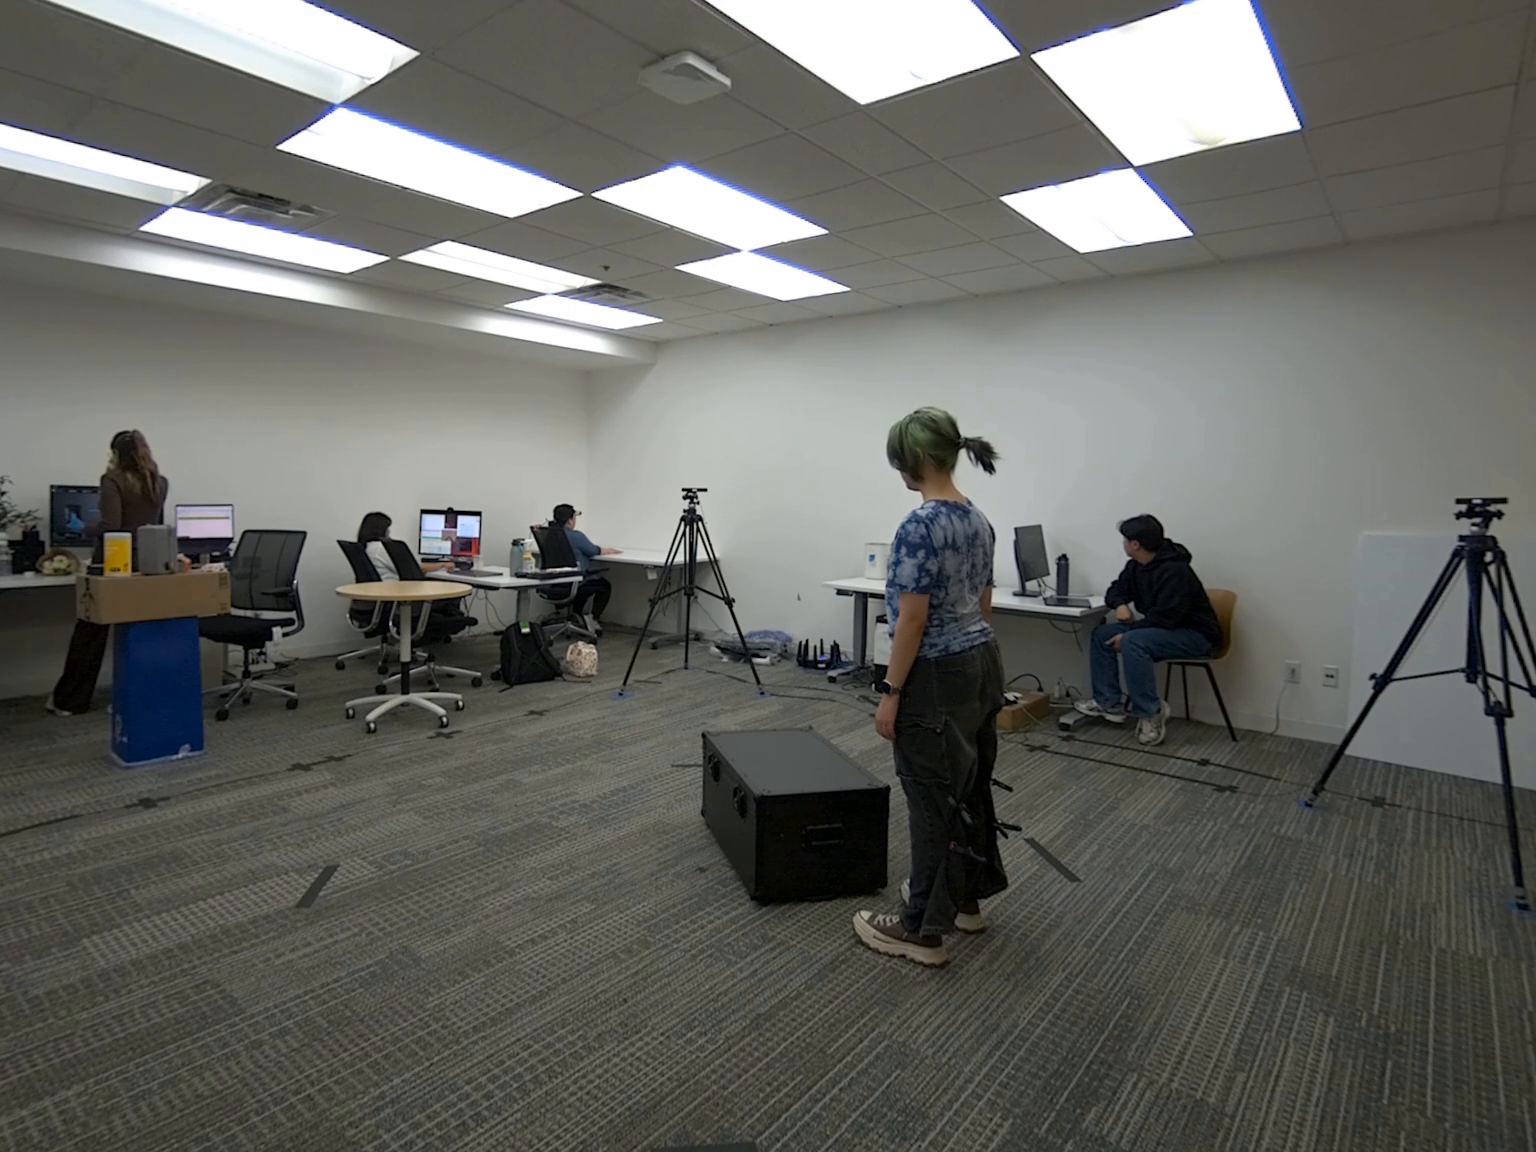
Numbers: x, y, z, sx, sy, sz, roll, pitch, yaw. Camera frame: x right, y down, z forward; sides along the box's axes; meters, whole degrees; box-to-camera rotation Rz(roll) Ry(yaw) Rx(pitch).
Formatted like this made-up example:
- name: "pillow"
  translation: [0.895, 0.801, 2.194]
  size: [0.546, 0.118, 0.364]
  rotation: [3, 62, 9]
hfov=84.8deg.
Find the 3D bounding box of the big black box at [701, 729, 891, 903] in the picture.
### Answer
- name: "big black box"
  translation: [0.064, 0.871, 3.220]
  size: [0.513, 0.395, 0.878]
  rotation: [0, 5, -16]
